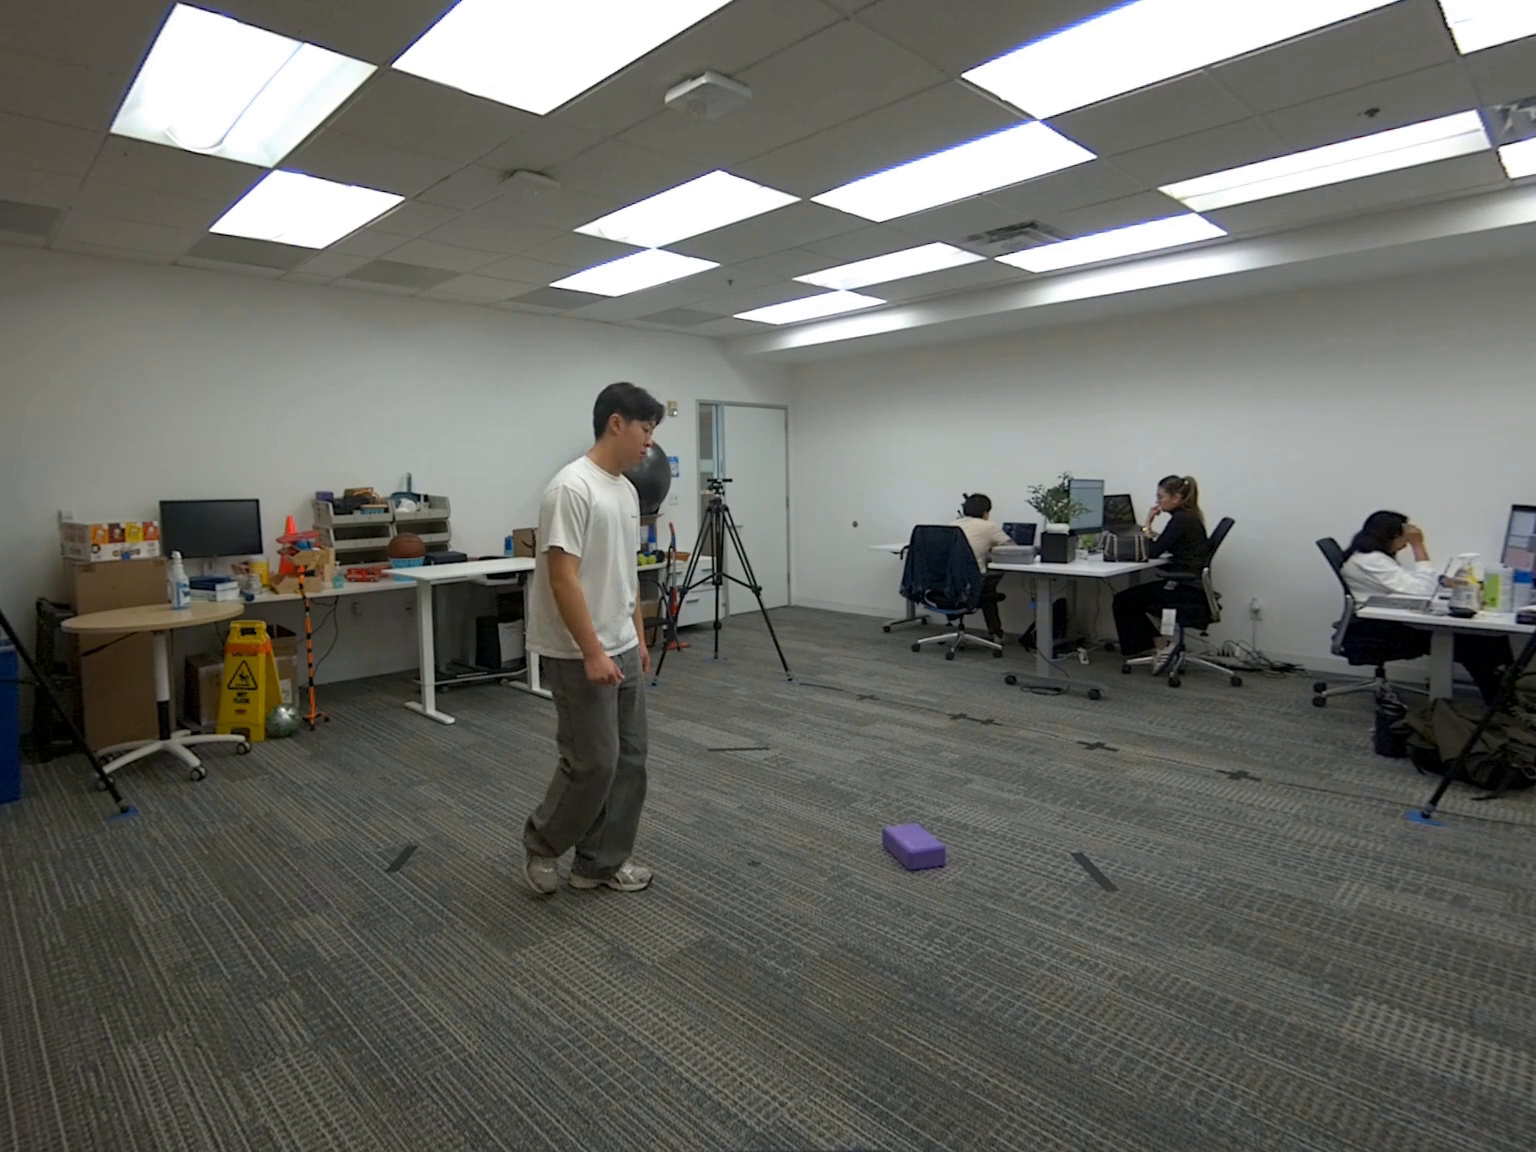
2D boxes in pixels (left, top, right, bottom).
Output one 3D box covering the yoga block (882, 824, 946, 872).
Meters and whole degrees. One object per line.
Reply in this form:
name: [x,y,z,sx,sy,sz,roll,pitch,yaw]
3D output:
yoga block: [0.539,0.992,3.144,0.147,0.076,0.233,-3,6,-16]
